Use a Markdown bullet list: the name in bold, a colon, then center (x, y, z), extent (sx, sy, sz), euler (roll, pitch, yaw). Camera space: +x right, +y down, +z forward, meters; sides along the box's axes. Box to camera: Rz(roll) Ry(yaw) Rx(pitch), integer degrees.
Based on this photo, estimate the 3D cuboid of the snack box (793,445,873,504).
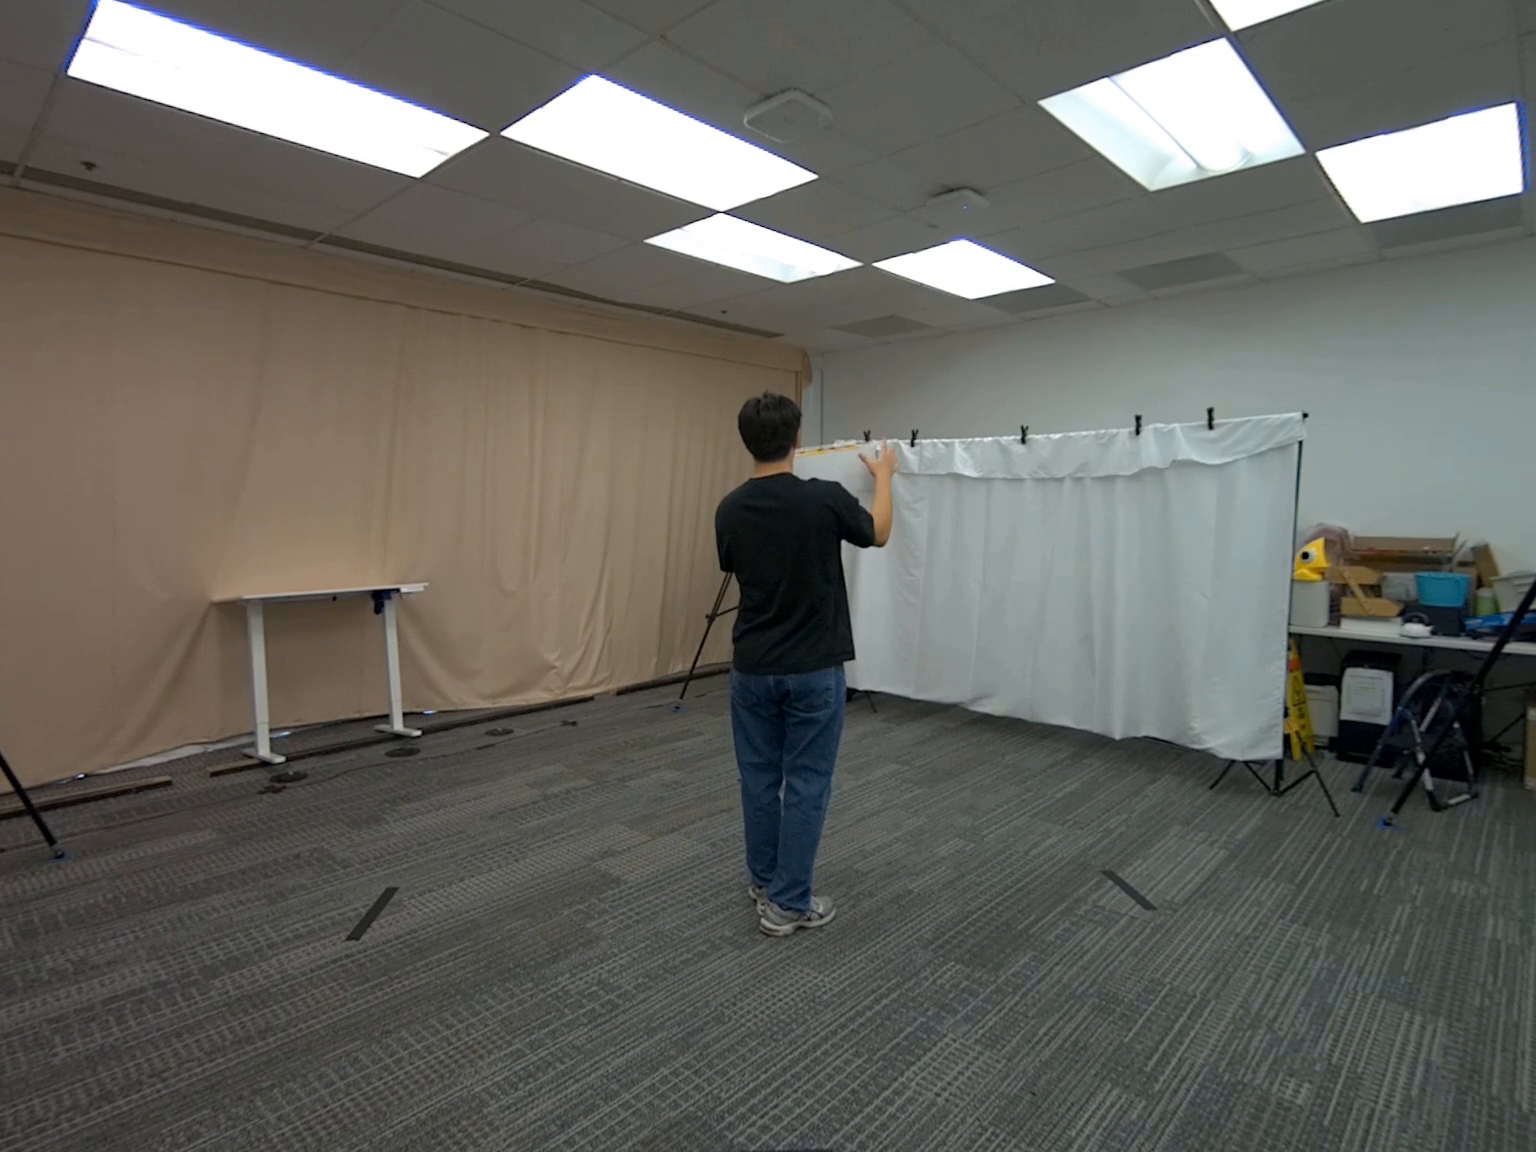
- **snack box**: center (0.209, -0.315, 3.192), extent (0.404, 0.337, 0.208), euler (-8, 11, -4)
